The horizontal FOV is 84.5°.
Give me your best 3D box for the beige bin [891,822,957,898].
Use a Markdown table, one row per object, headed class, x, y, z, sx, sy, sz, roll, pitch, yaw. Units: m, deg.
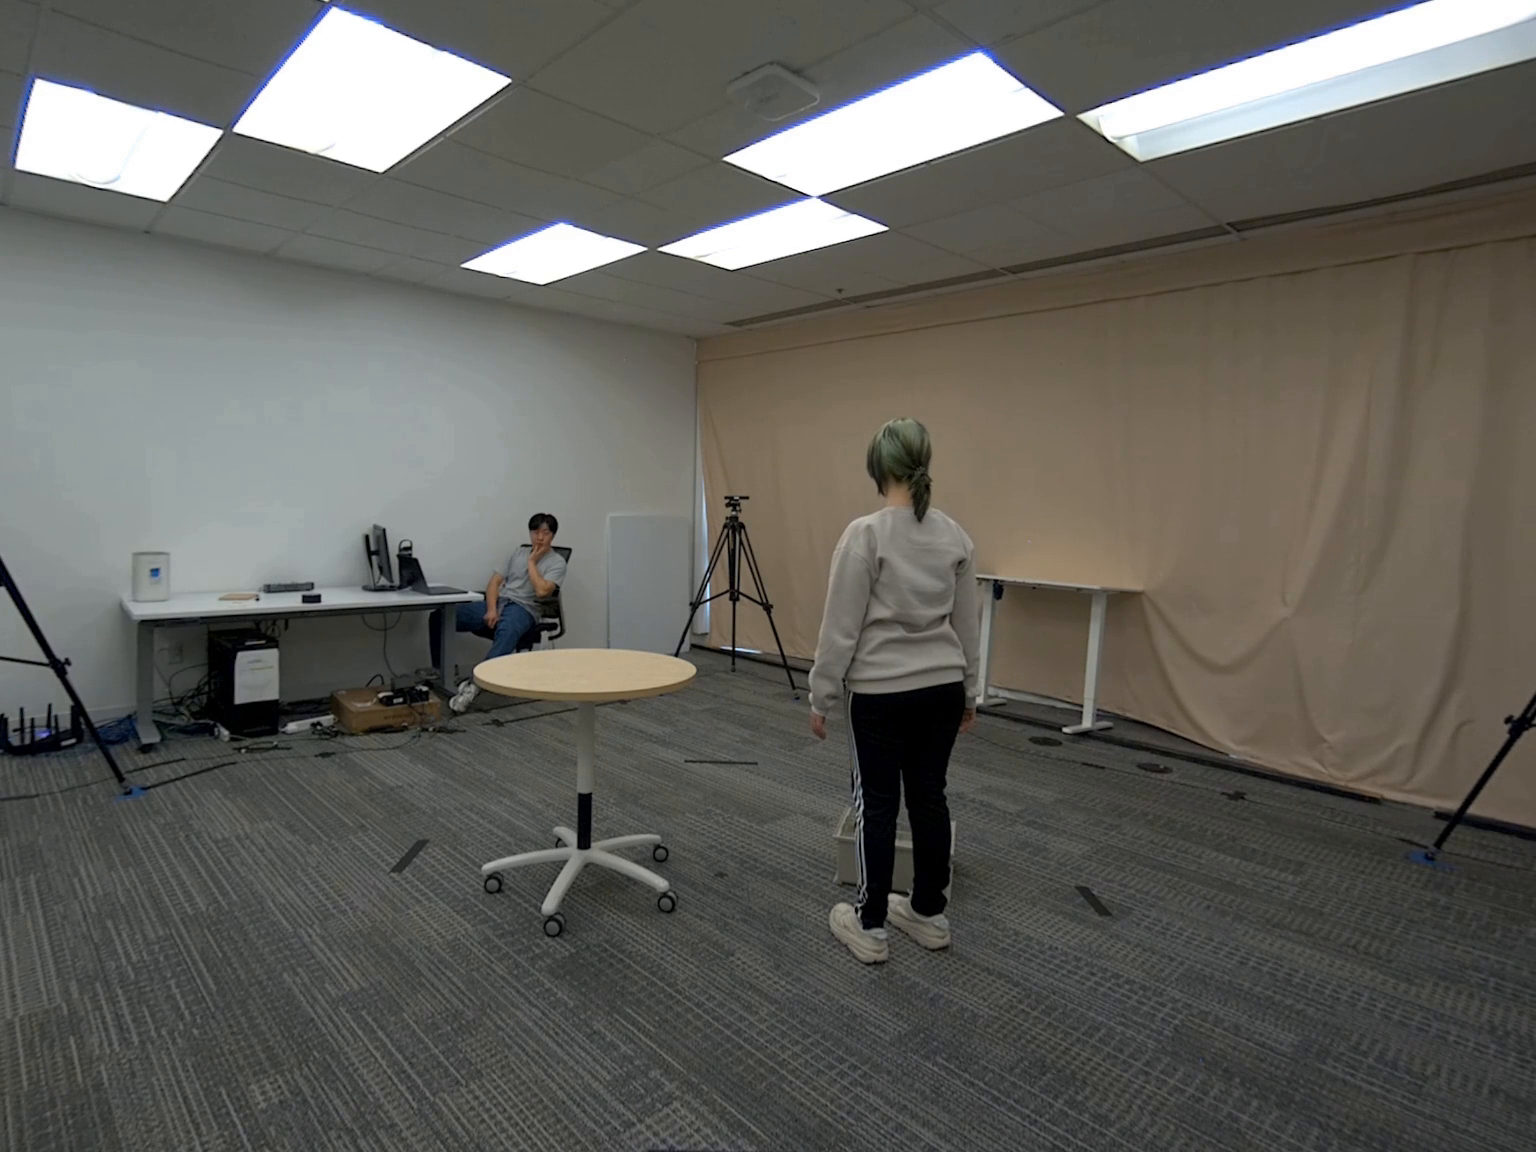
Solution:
| class | x | y | z | sx | sy | sz | roll | pitch | yaw |
| --- | --- | --- | --- | --- | --- | --- | --- | --- | --- |
| beige bin | 0.481 | 1.029 | 3.156 | 0.428 | 0.188 | 0.373 | 4 | 6 | 15 |
